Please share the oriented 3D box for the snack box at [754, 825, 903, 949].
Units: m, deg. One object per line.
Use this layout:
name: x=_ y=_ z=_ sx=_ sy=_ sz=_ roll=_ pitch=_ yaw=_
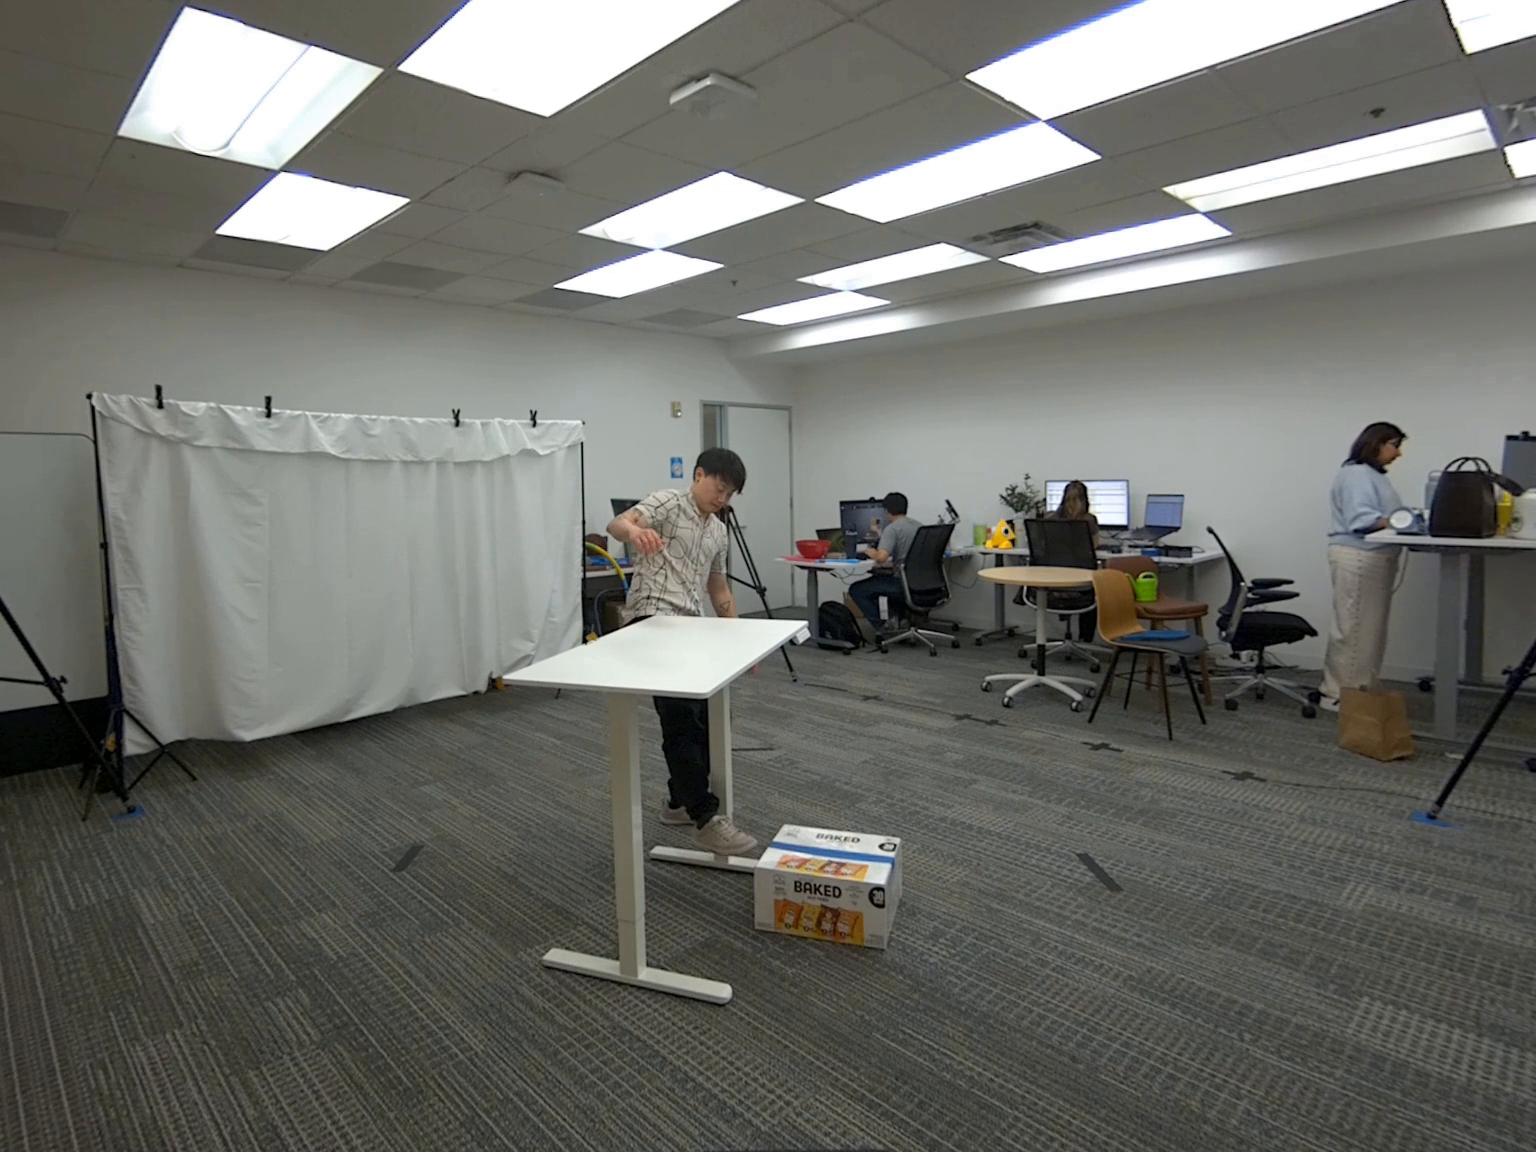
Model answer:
snack box: x=0.206 y=0.984 z=2.734 sx=0.412 sy=0.205 sz=0.336 roll=1 pitch=6 yaw=18
